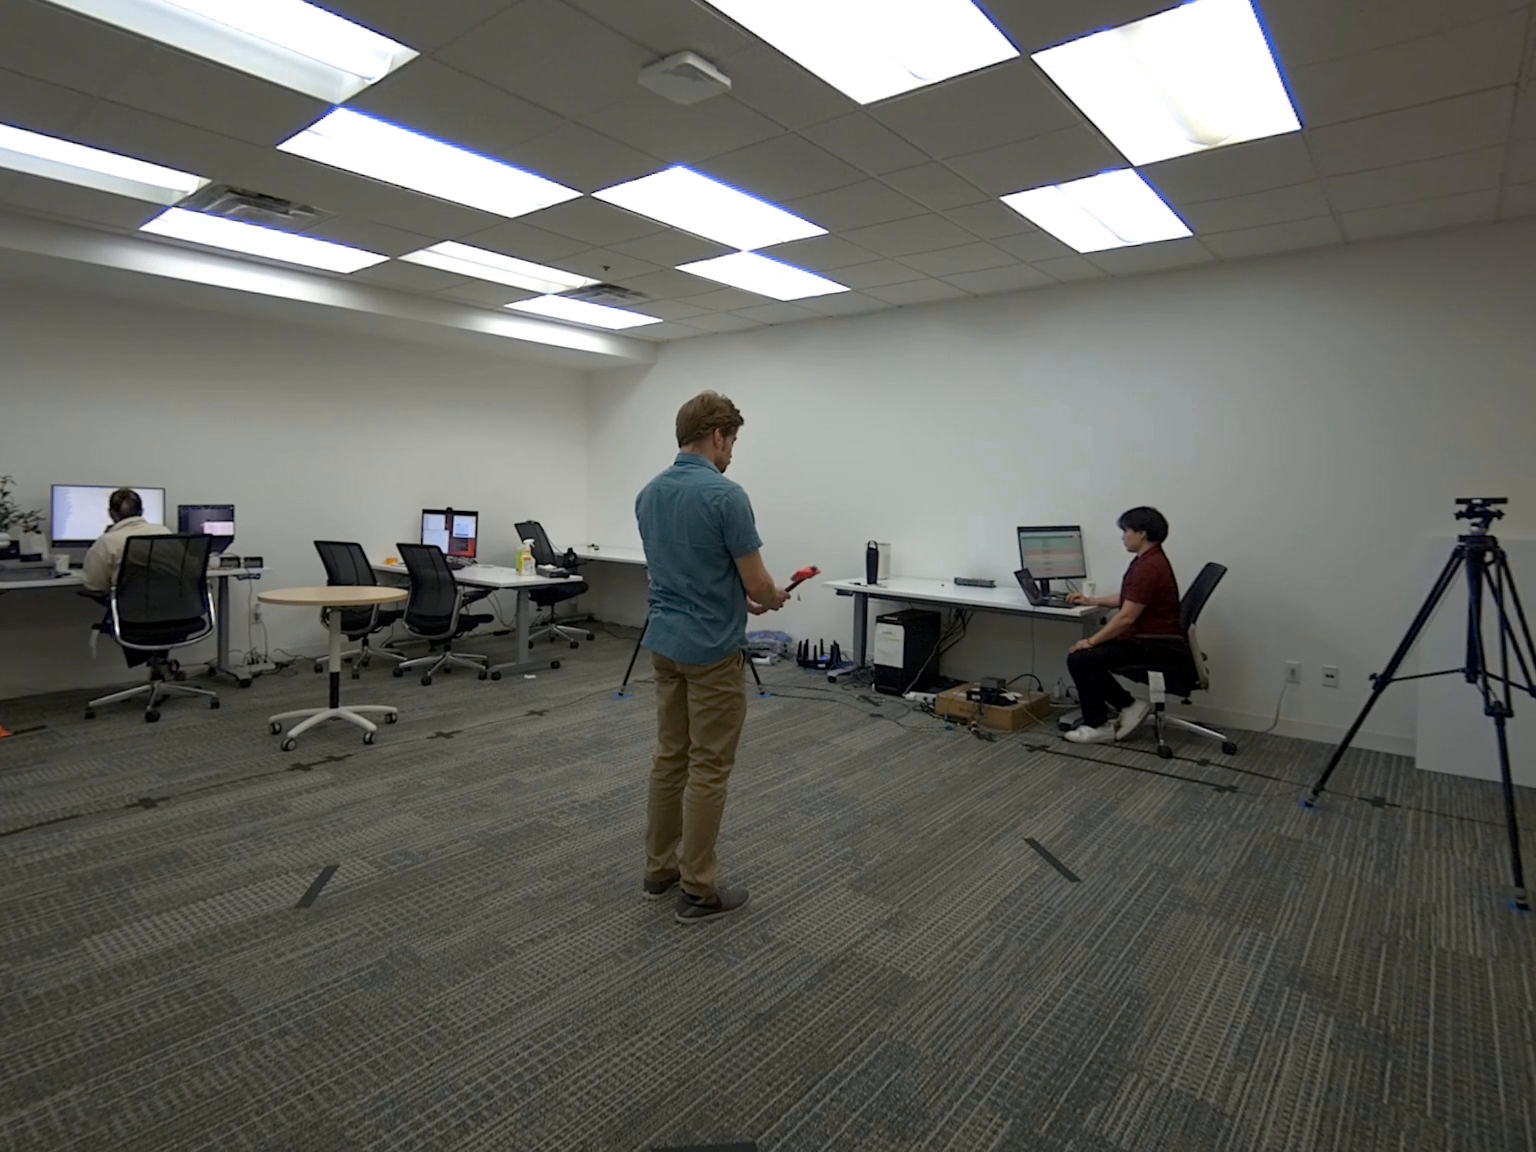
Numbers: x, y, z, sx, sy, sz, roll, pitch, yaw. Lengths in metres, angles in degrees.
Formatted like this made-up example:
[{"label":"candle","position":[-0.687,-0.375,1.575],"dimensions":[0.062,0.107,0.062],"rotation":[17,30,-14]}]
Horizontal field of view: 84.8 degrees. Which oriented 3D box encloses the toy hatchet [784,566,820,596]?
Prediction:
[{"label":"toy hatchet","position":[0.054,0.040,3.053],"dimensions":[0.272,0.030,0.127],"rotation":[-29,-17,18]}]
